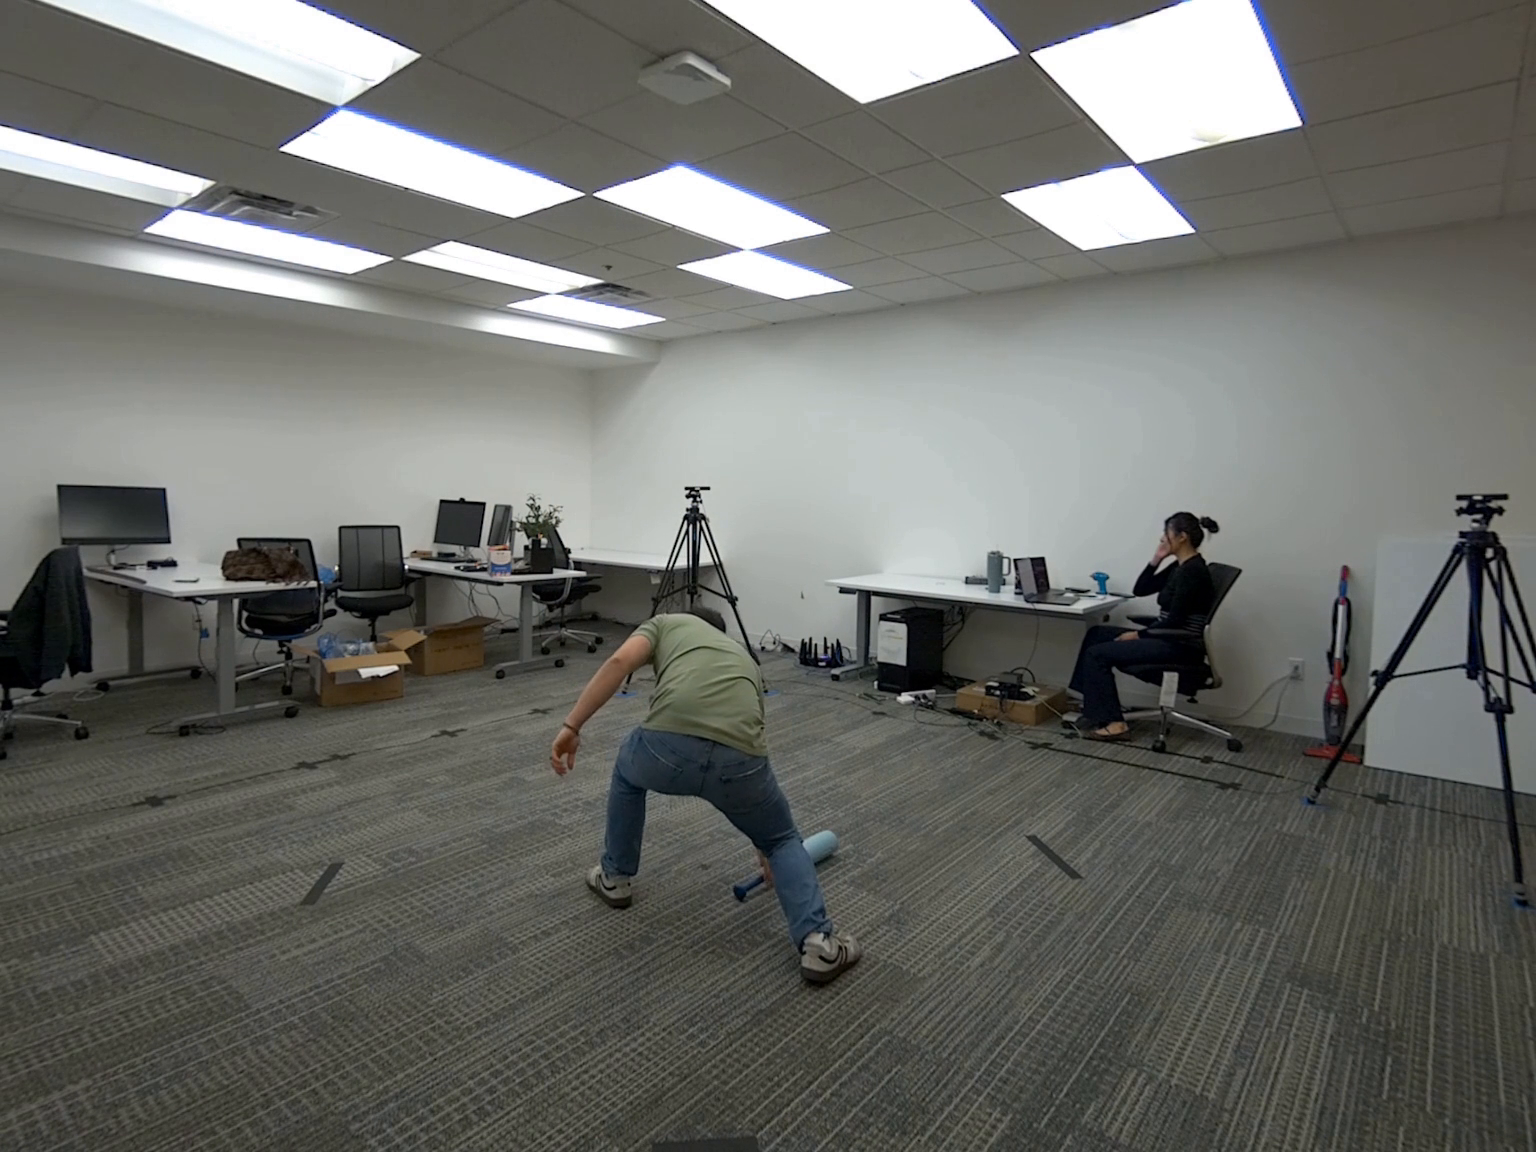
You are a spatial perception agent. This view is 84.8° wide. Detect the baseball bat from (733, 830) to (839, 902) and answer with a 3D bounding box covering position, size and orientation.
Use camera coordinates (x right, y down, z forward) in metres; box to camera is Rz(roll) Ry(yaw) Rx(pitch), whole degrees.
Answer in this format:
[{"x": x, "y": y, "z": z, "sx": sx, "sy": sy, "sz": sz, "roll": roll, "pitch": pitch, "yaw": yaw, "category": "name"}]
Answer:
[{"x": 0.061, "y": 1.035, "z": 3.061, "sx": 0.092, "sy": 0.088, "sz": 0.528, "roll": 4, "pitch": 9, "yaw": 41, "category": "baseball bat"}]
